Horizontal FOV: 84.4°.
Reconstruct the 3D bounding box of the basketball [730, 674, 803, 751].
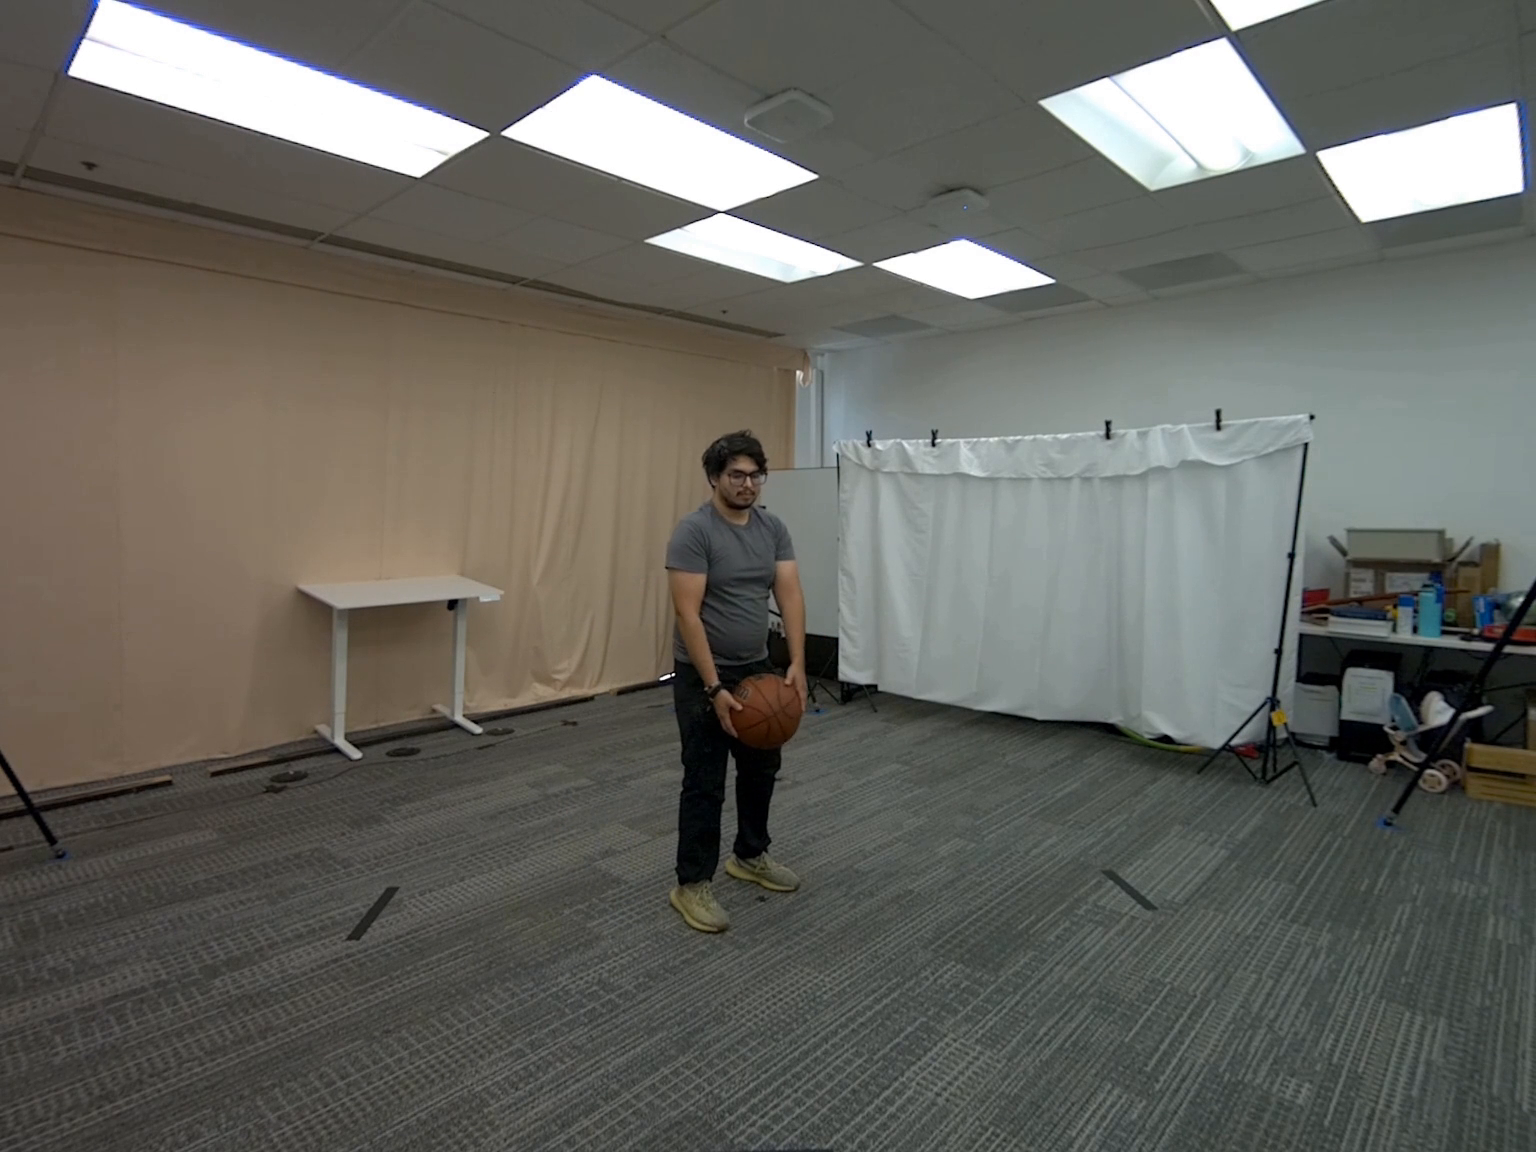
[{"bbox_3d":[-0.009,0.427,2.701,0.236,0.235,0.237,0,4,-2],"label":"basketball"}]
